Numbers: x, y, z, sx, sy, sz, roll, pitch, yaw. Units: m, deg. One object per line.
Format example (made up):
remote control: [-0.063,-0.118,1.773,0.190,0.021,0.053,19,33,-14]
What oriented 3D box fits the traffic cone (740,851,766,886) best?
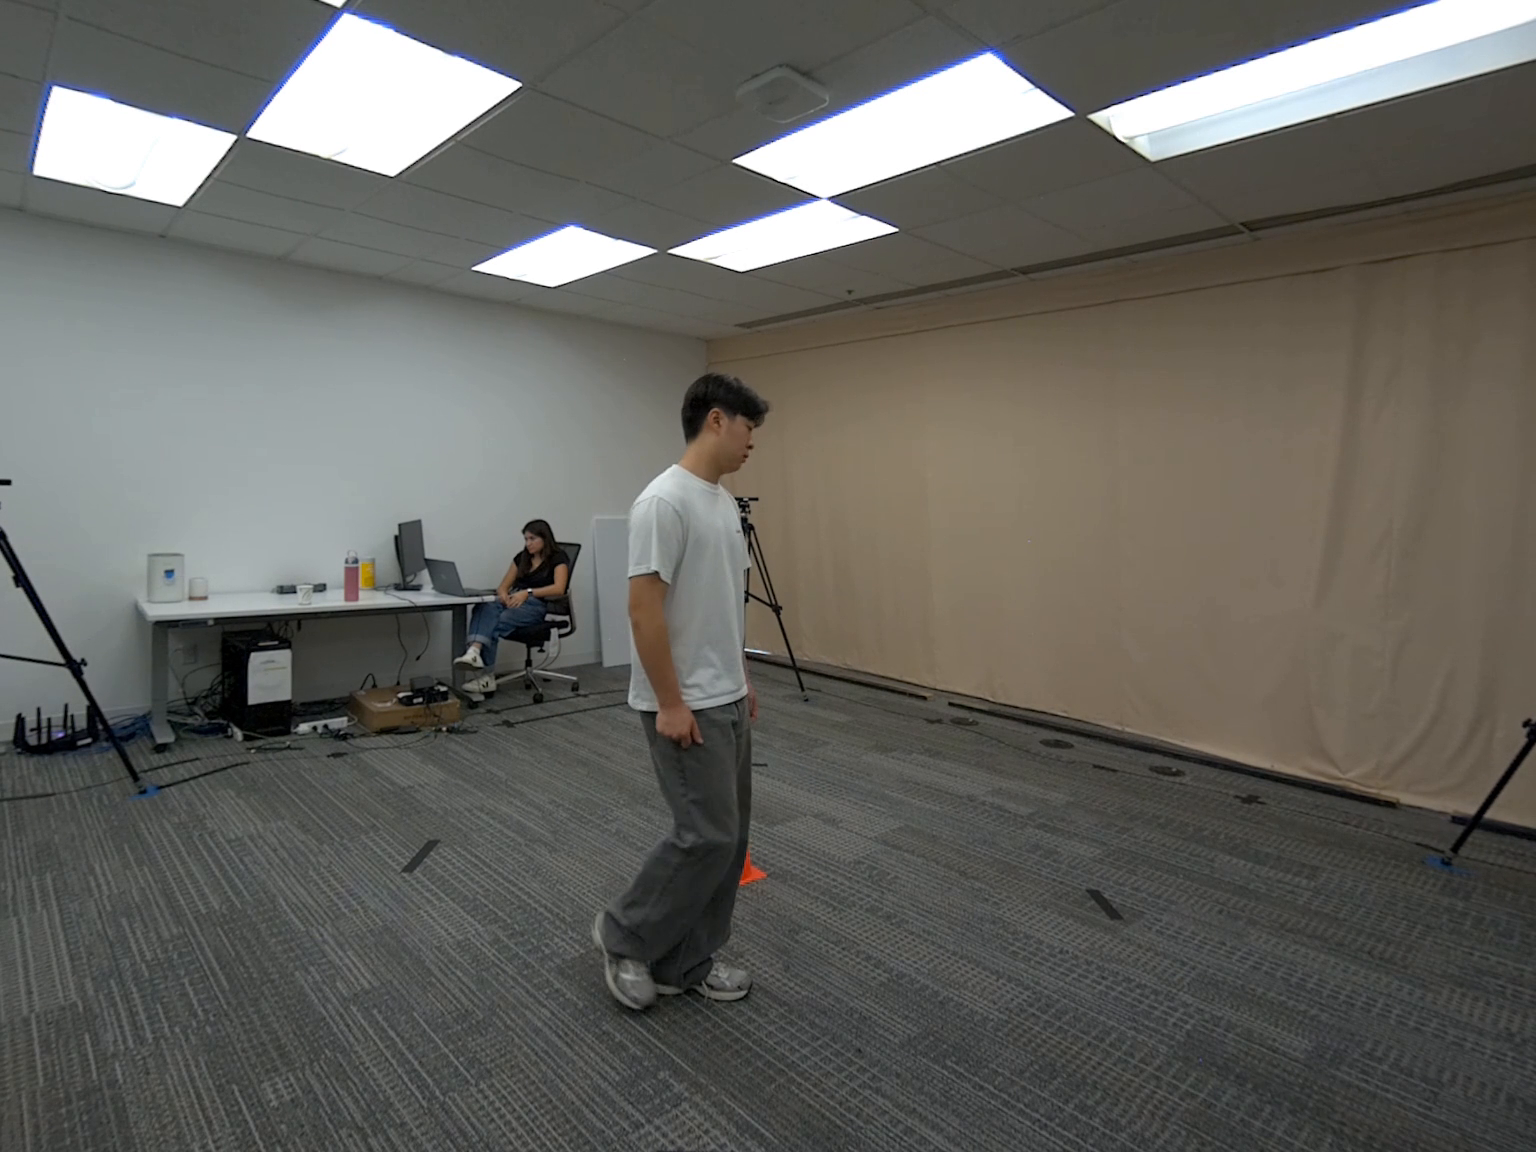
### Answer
traffic cone: [-0.144,0.930,3.106,0.199,0.382,0.210,-4,7,-42]
